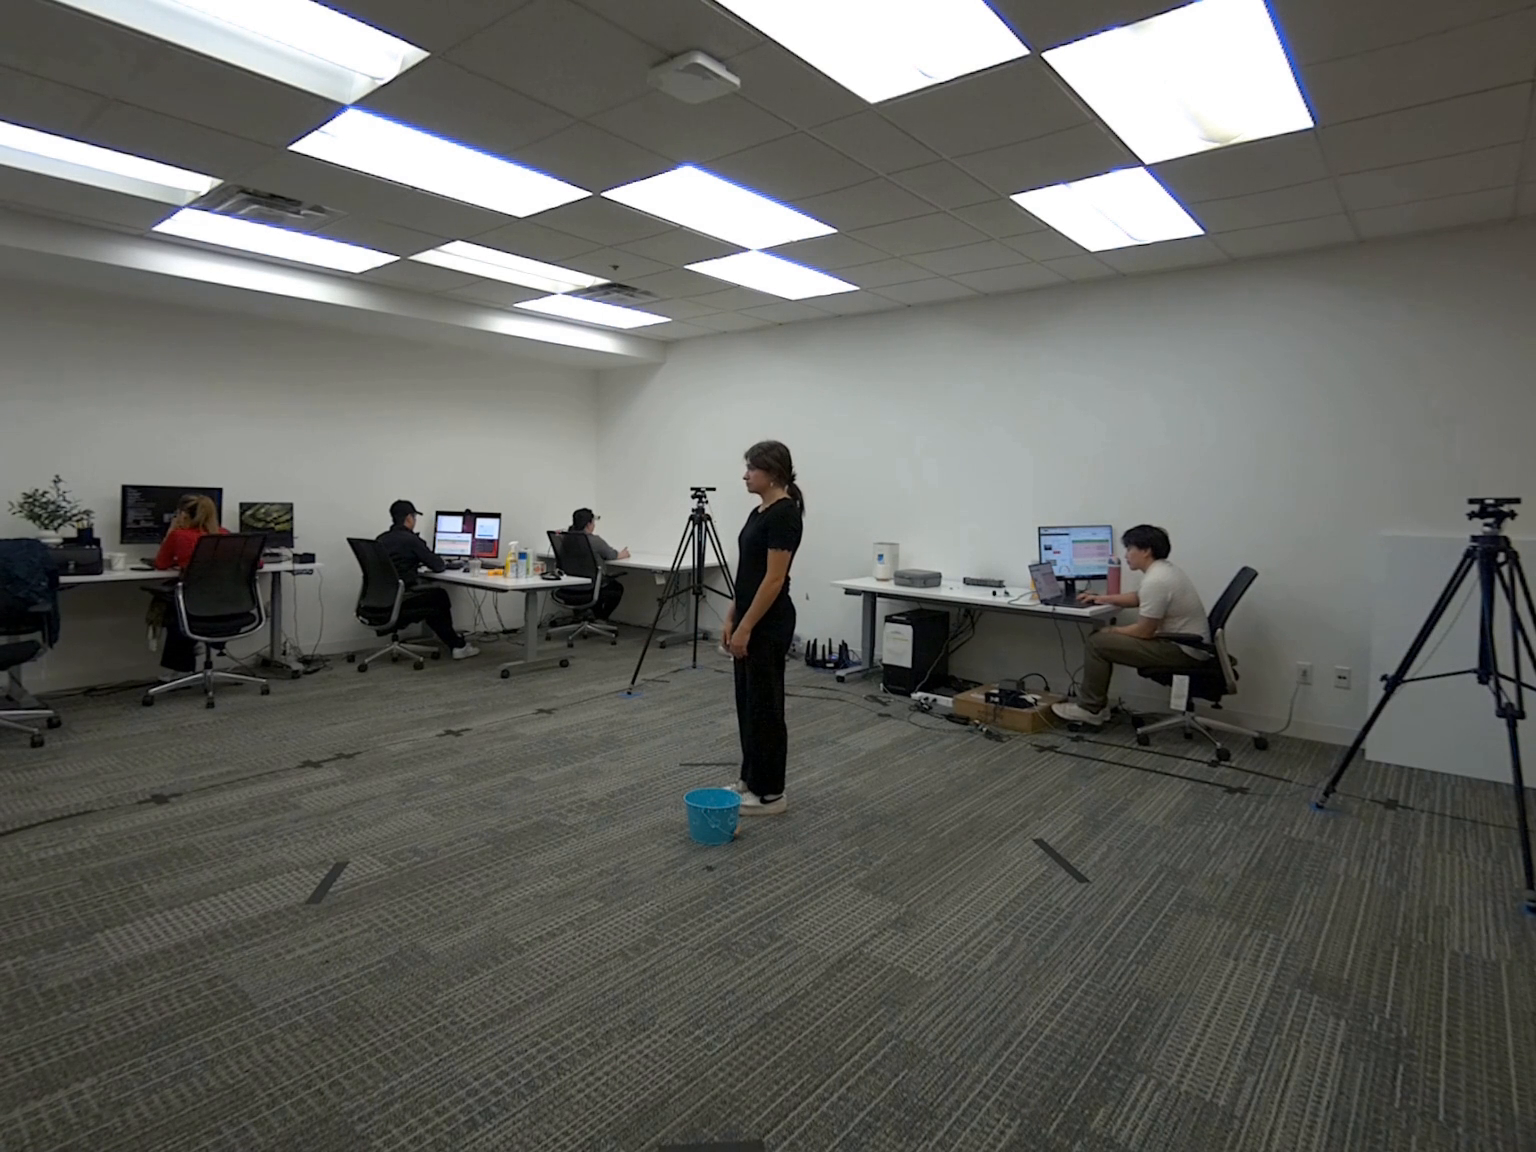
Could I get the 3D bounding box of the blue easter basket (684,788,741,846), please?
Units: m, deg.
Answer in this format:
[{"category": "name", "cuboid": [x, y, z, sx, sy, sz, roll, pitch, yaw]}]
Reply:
[{"category": "blue easter basket", "cuboid": [-0.230, 0.958, 3.404, 0.243, 0.155, 0.245, 0, 5, -2]}]
